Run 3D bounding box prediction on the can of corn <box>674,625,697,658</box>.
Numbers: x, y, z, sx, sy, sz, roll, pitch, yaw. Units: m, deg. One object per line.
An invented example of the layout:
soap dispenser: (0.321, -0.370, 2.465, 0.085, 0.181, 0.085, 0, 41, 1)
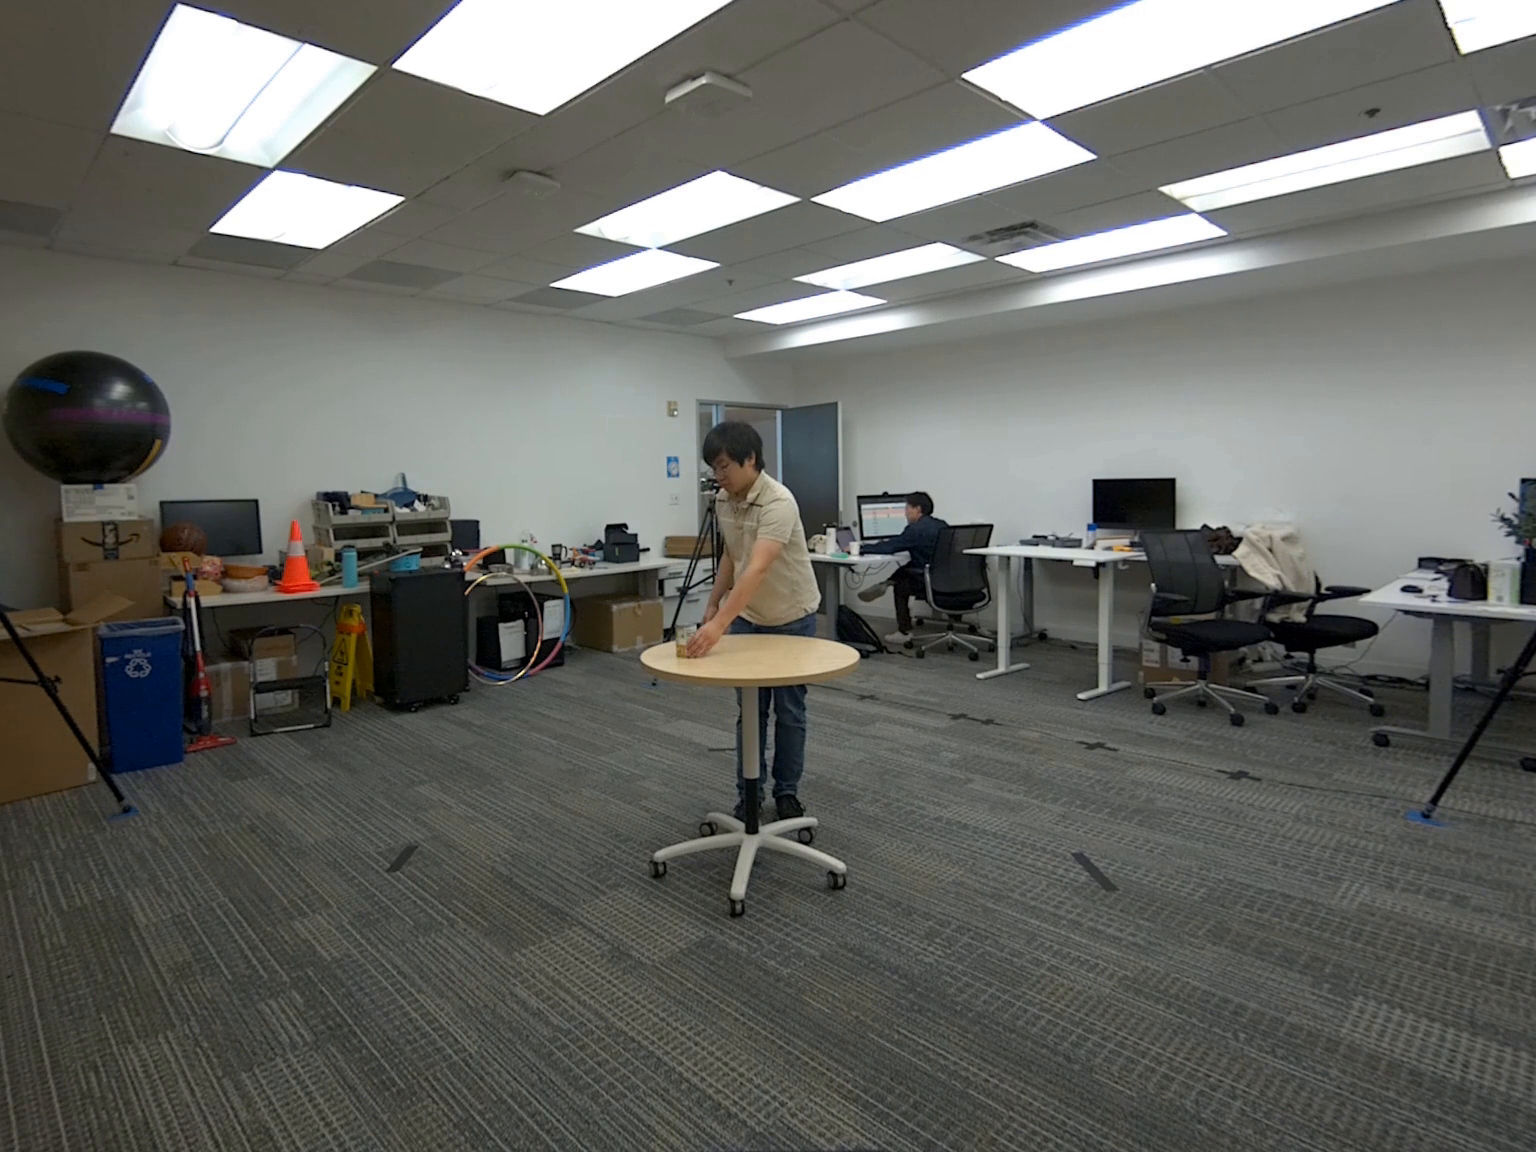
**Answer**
can of corn: (-0.278, 0.225, 2.966, 0.074, 0.110, 0.075, 0, 7, -2)
